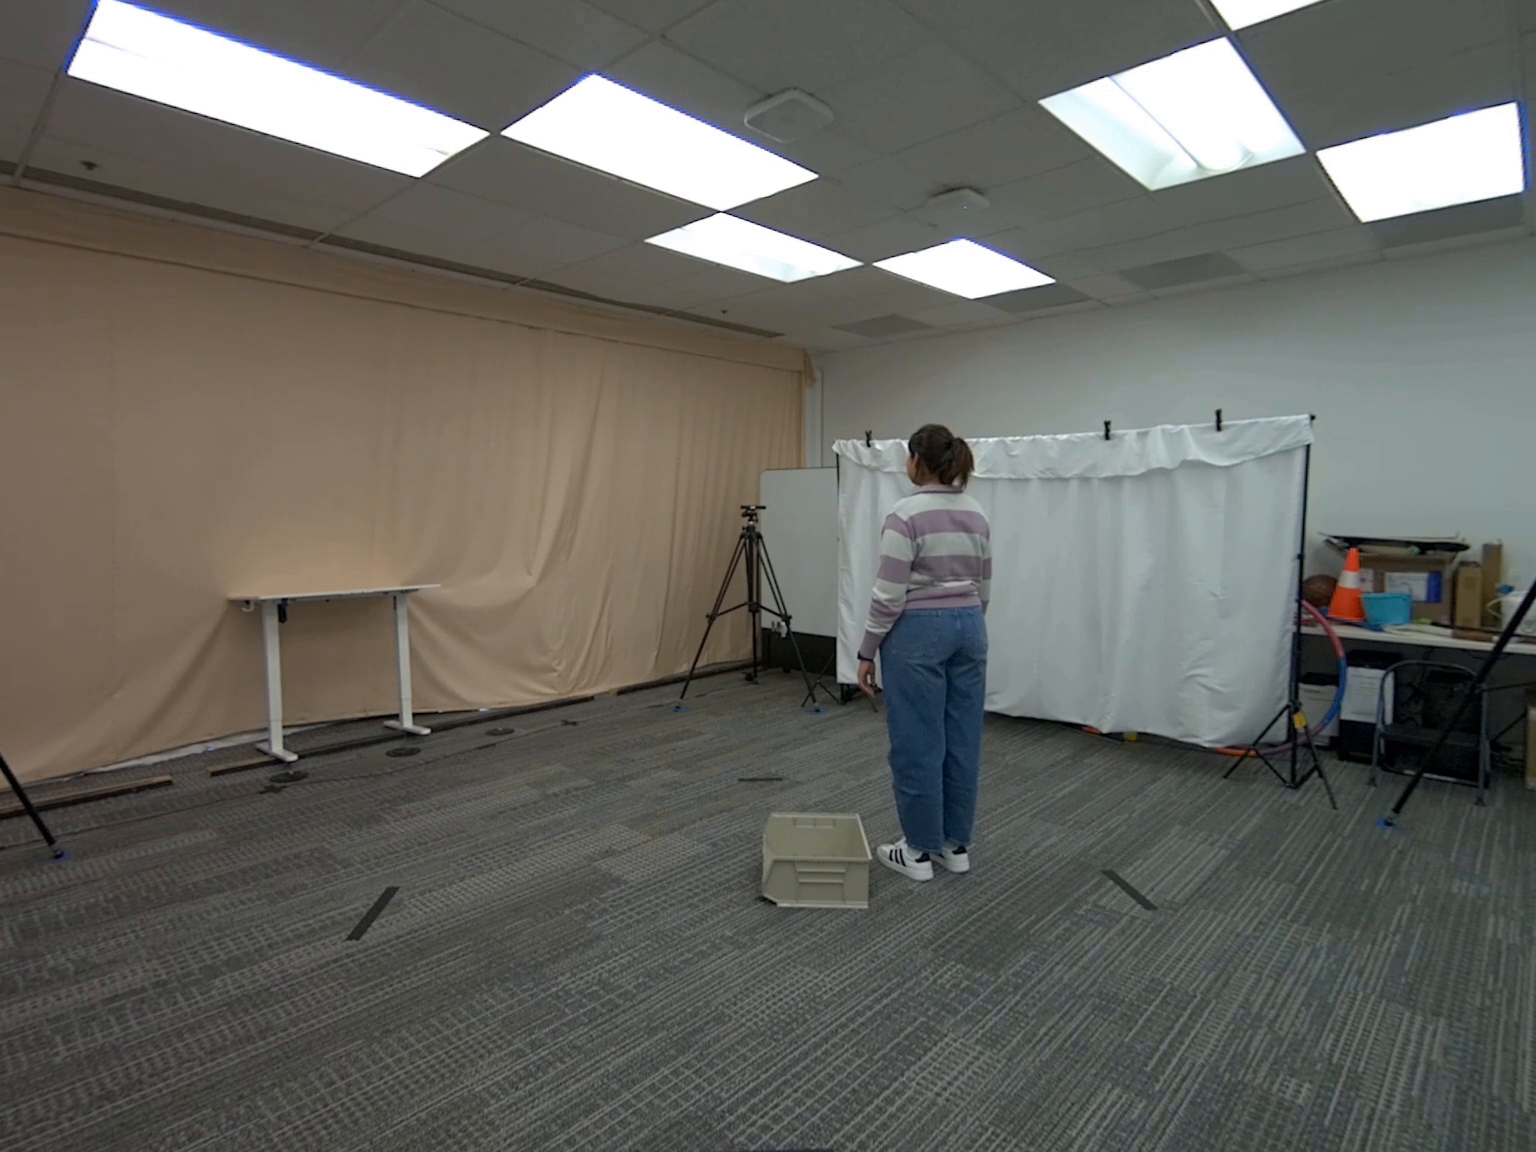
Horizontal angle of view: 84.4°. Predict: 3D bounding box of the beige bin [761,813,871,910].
[{"bbox_3d":[0.171,1.041,3.113,0.378,0.188,0.422,1,4,1],"label":"beige bin"}]
